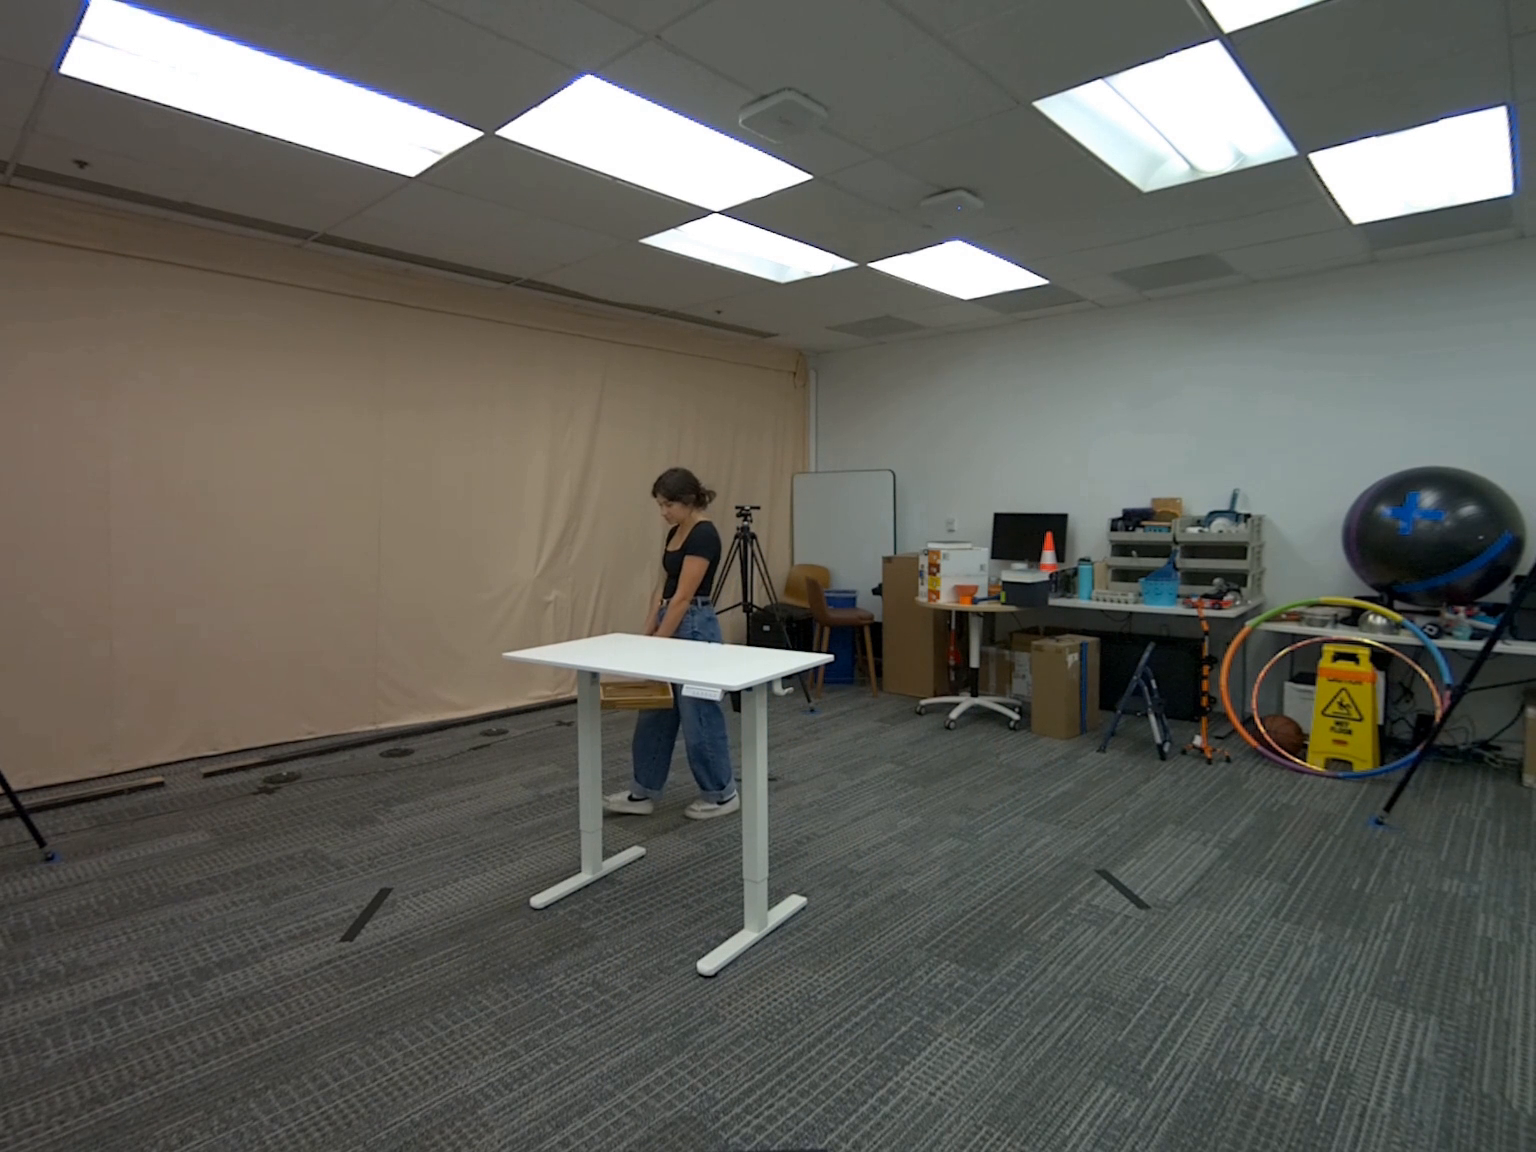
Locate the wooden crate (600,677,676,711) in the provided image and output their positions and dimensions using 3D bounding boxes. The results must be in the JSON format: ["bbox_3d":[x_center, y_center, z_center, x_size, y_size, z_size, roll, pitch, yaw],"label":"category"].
[{"bbox_3d":[-0.591,0.419,3.628,0.320,0.274,0.305,1,-4,-13],"label":"wooden crate"}]
